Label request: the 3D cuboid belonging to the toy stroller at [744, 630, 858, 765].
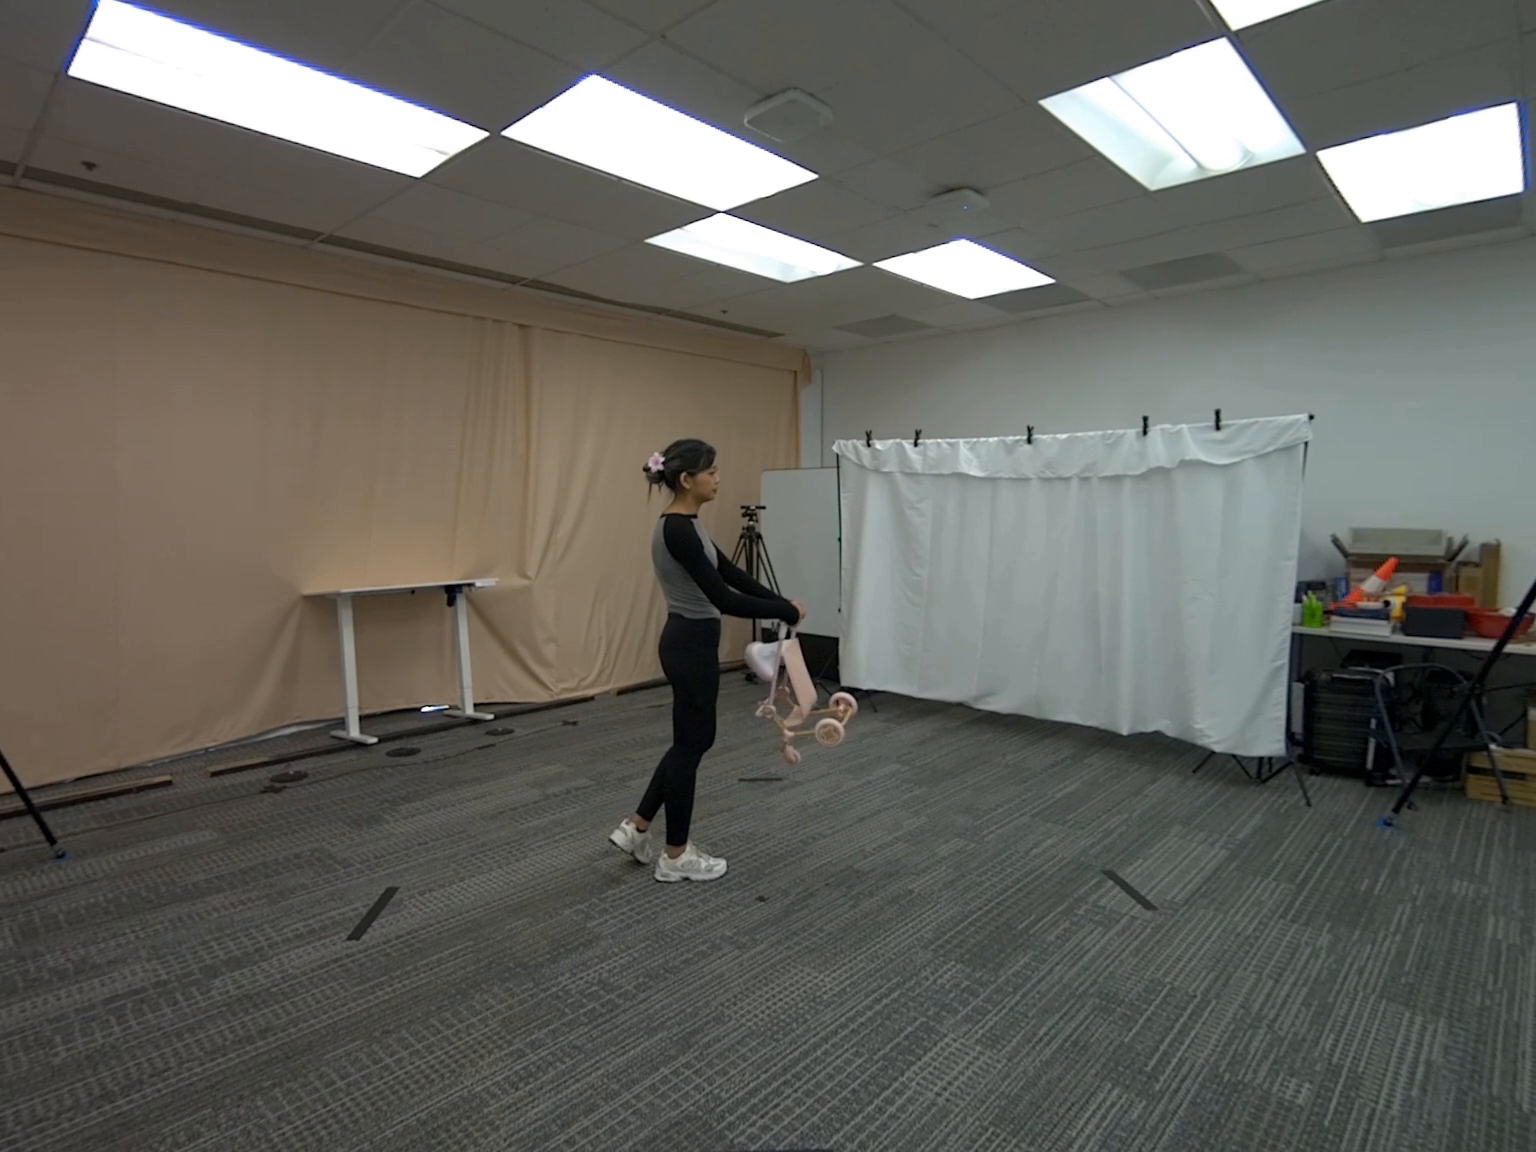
[{"bbox_3d":[0.093,0.442,3.168,0.347,0.533,0.277,-27,3,29],"label":"toy stroller"}]
